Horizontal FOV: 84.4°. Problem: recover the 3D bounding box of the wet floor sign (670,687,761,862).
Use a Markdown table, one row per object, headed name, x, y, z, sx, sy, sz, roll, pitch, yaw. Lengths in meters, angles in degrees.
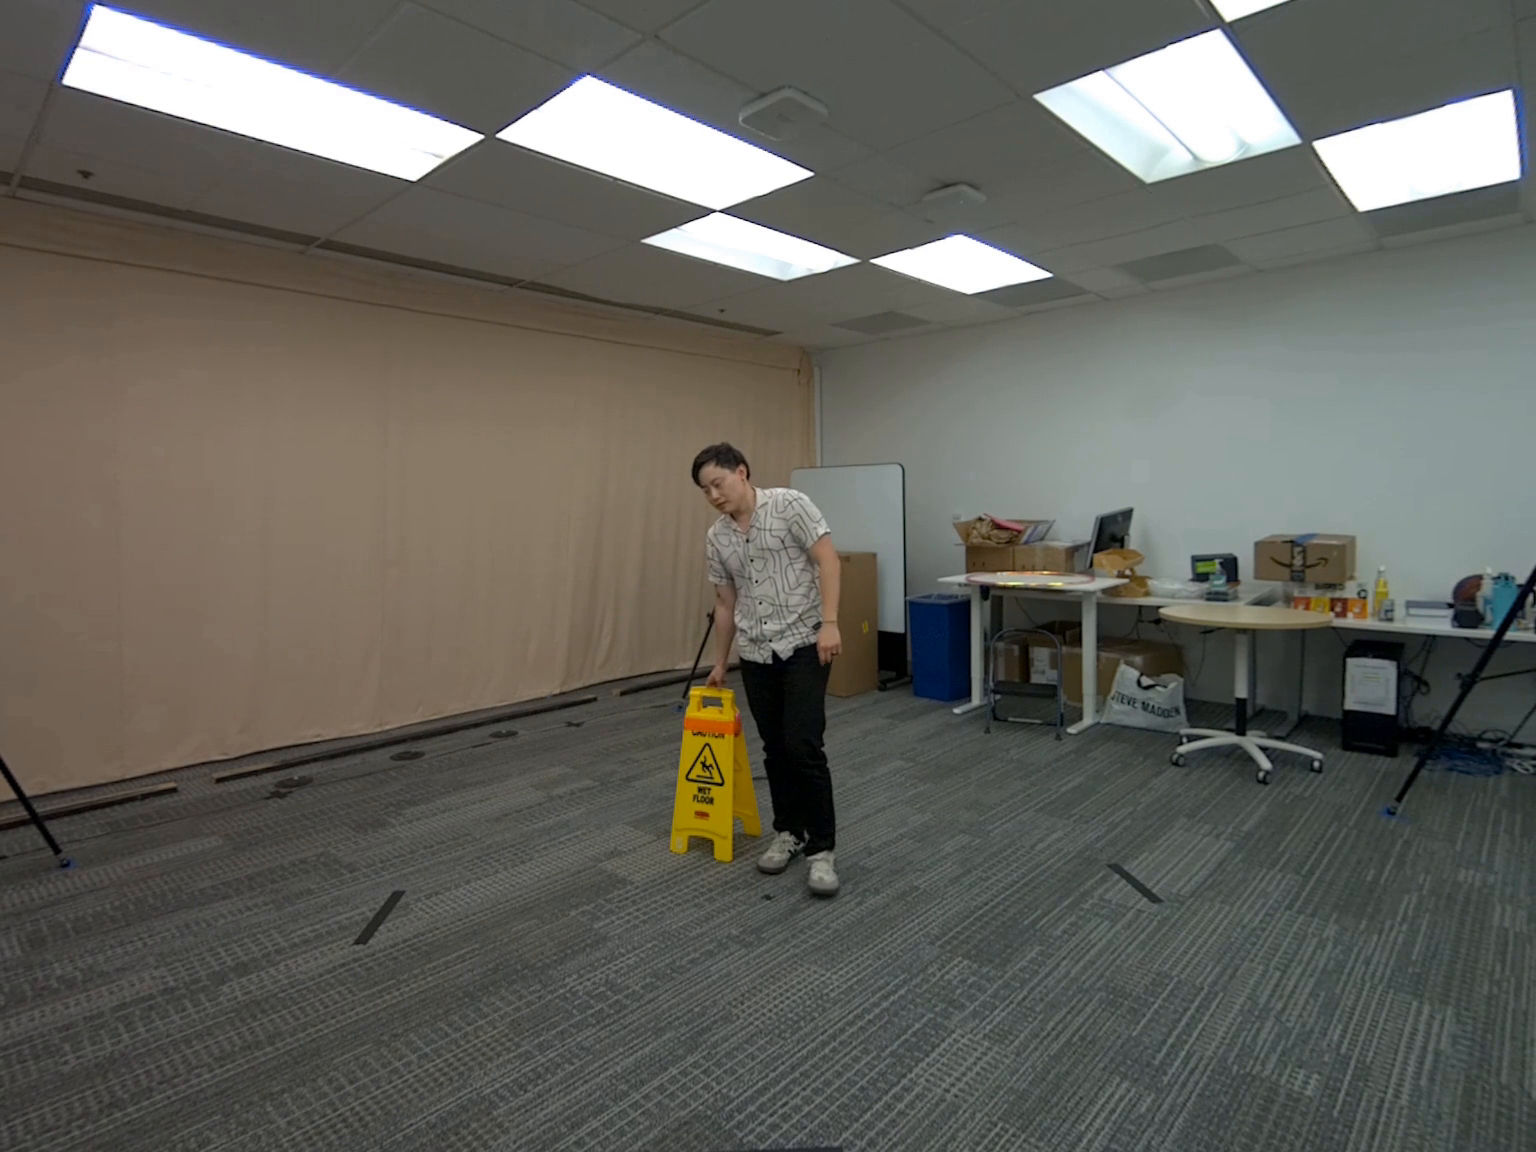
| name | x | y | z | sx | sy | sz | roll | pitch | yaw |
| --- | --- | --- | --- | --- | --- | --- | --- | --- | --- |
| wet floor sign | -0.220 | 0.780 | 3.456 | 0.289 | 0.644 | 0.283 | 0 | 4 | 25 |
